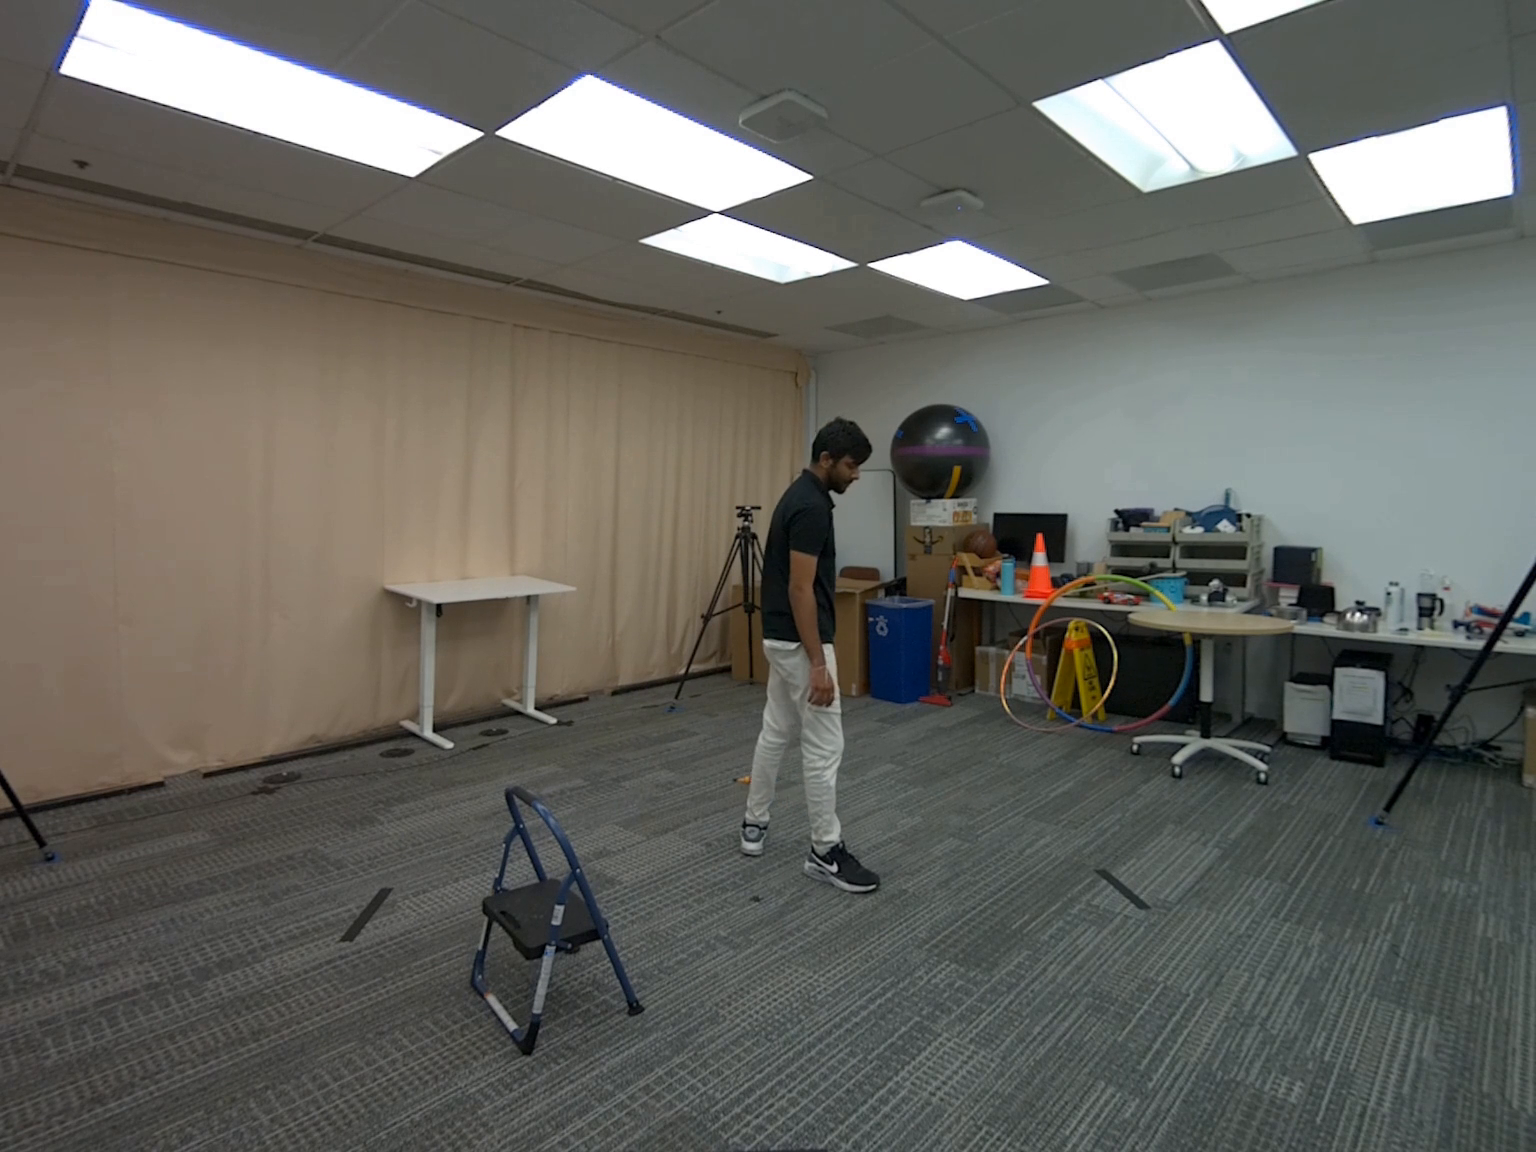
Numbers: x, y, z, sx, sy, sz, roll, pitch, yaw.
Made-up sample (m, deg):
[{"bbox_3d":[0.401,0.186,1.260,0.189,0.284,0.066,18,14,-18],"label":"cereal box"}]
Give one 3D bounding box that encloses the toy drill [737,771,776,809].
[{"bbox_3d":[-0.056,0.994,3.946,0.170,0.146,0.061,1,2,3],"label":"toy drill"}]
